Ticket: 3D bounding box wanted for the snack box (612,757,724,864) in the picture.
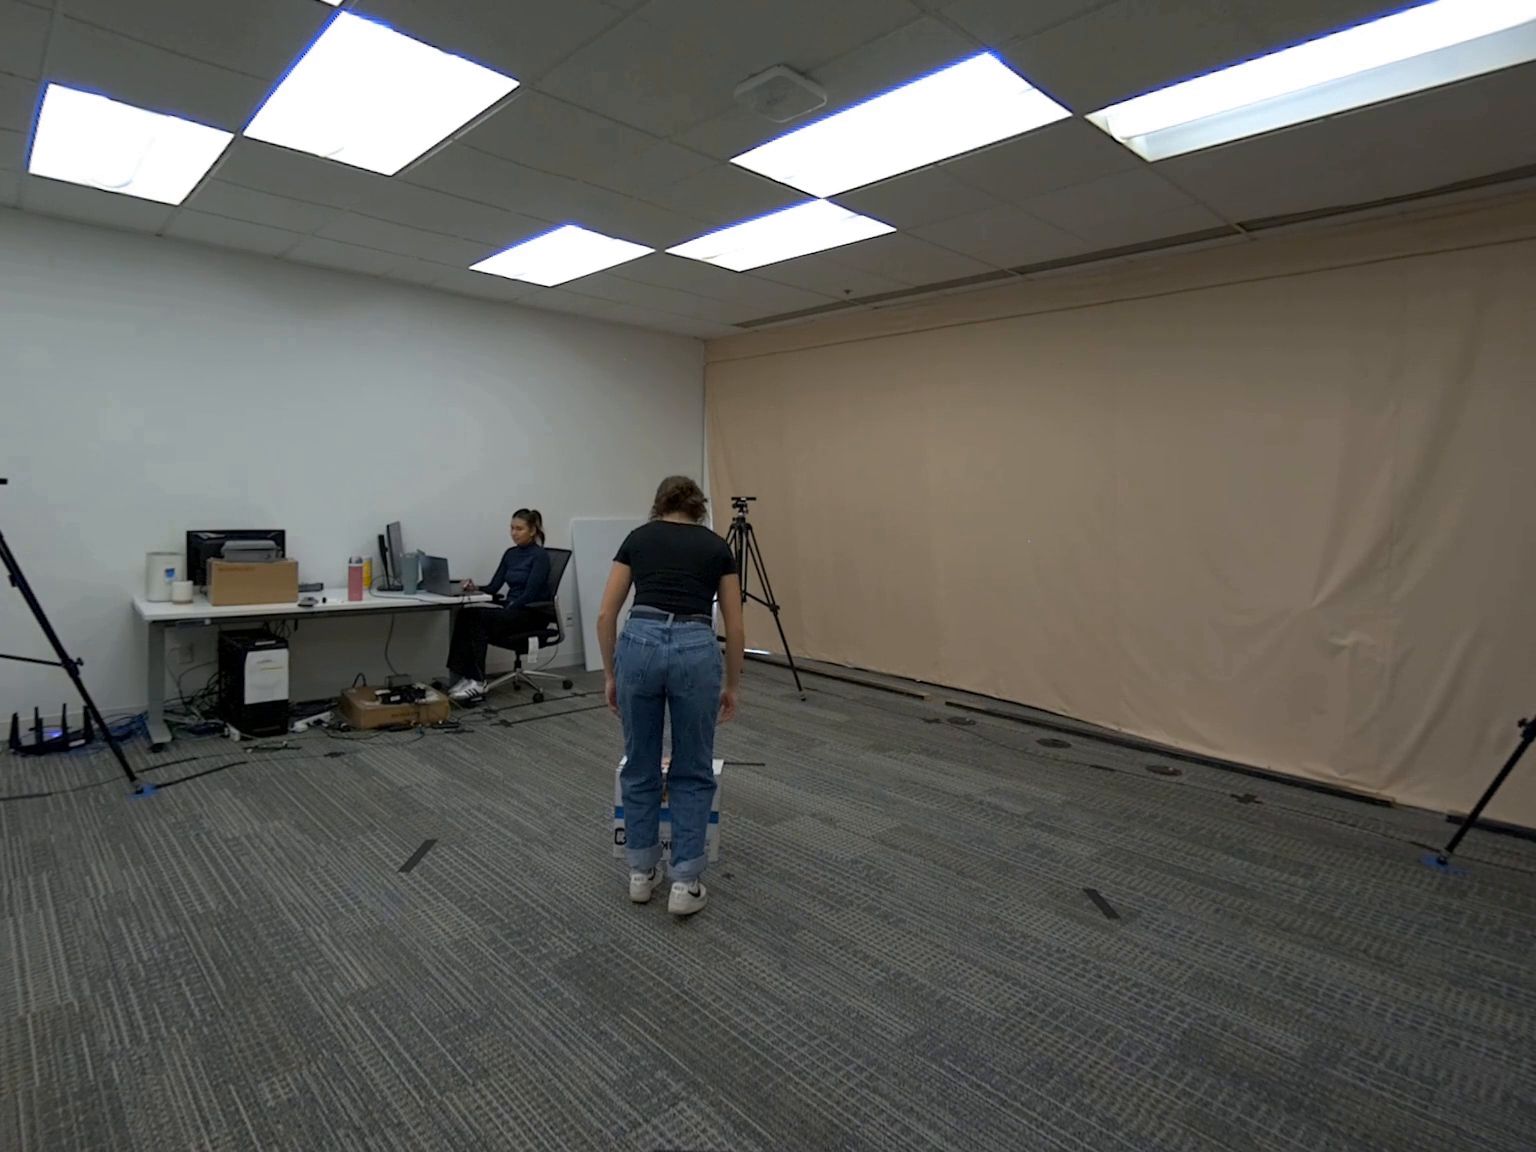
[{"bbox_3d":[-0.392,0.909,3.319,0.406,0.339,0.206,2,3,2],"label":"snack box"}]
